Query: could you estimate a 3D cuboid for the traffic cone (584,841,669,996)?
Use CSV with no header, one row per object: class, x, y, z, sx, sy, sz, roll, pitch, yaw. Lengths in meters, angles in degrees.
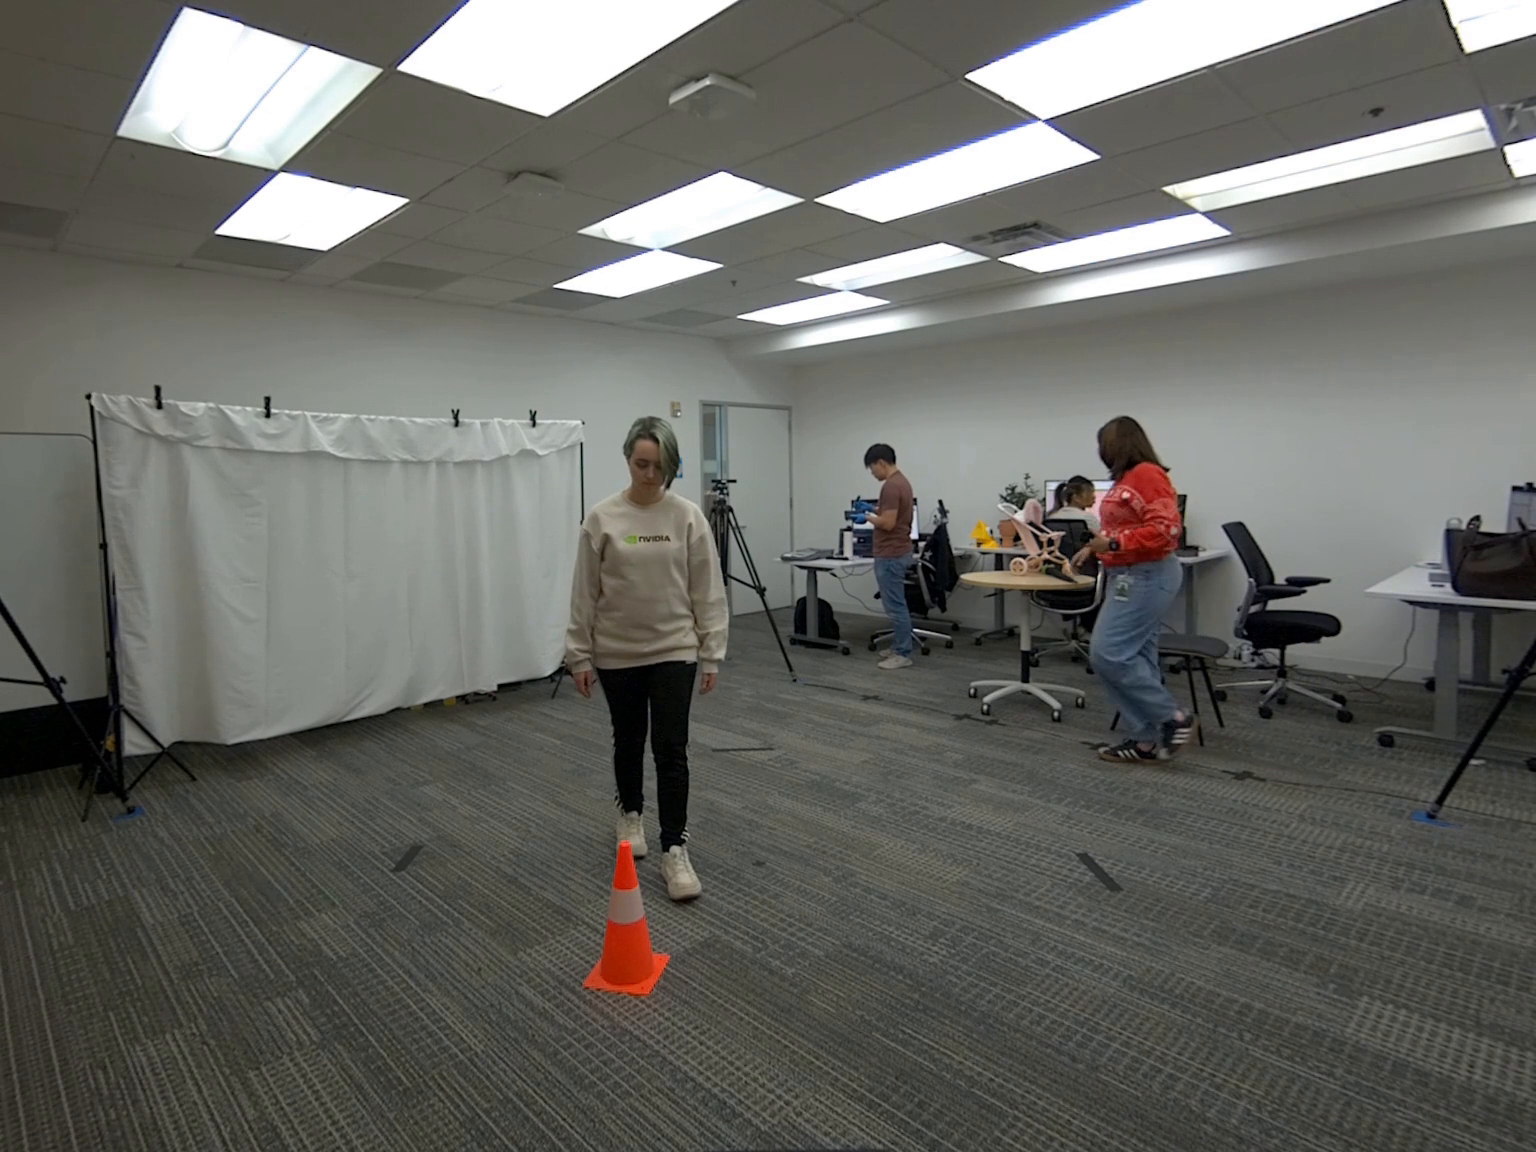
traffic cone,-0.401,0.950,2.428,0.206,0.382,0.203,1,5,16
